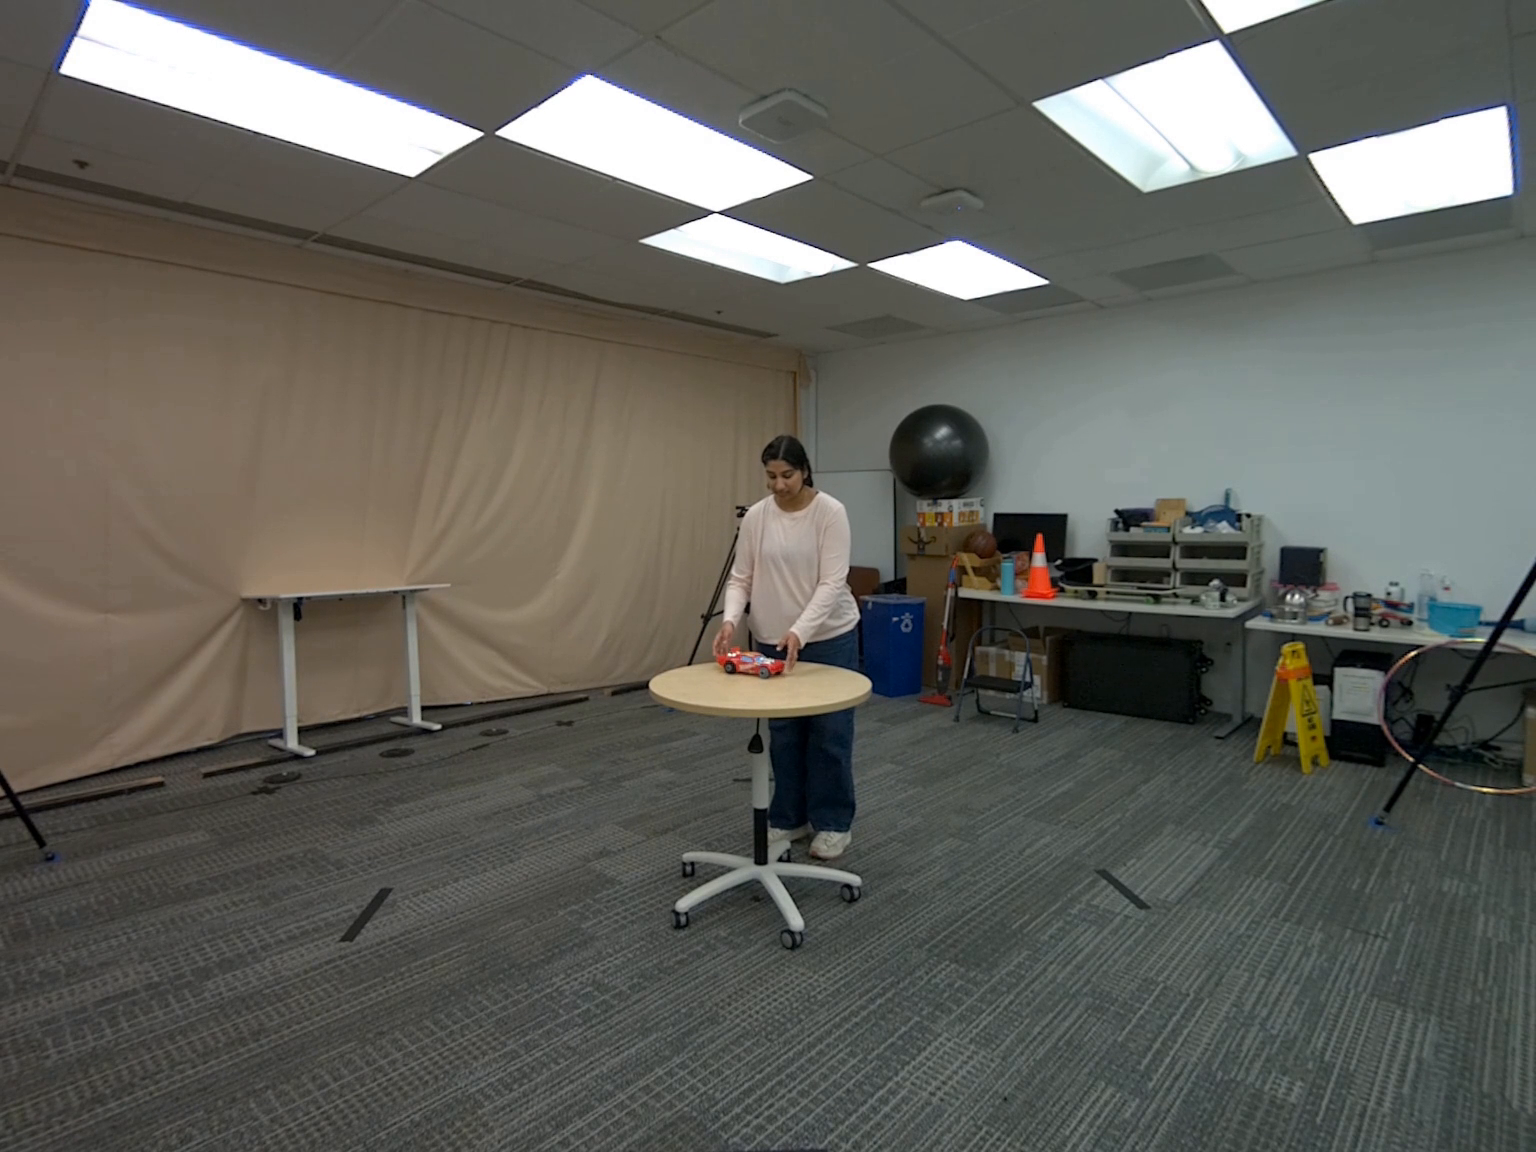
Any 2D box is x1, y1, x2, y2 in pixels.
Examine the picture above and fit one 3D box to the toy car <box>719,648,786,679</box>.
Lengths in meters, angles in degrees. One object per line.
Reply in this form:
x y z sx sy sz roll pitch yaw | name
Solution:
-0.066 0.324 3.061 0.263 0.083 0.127 16 14 32 | toy car
